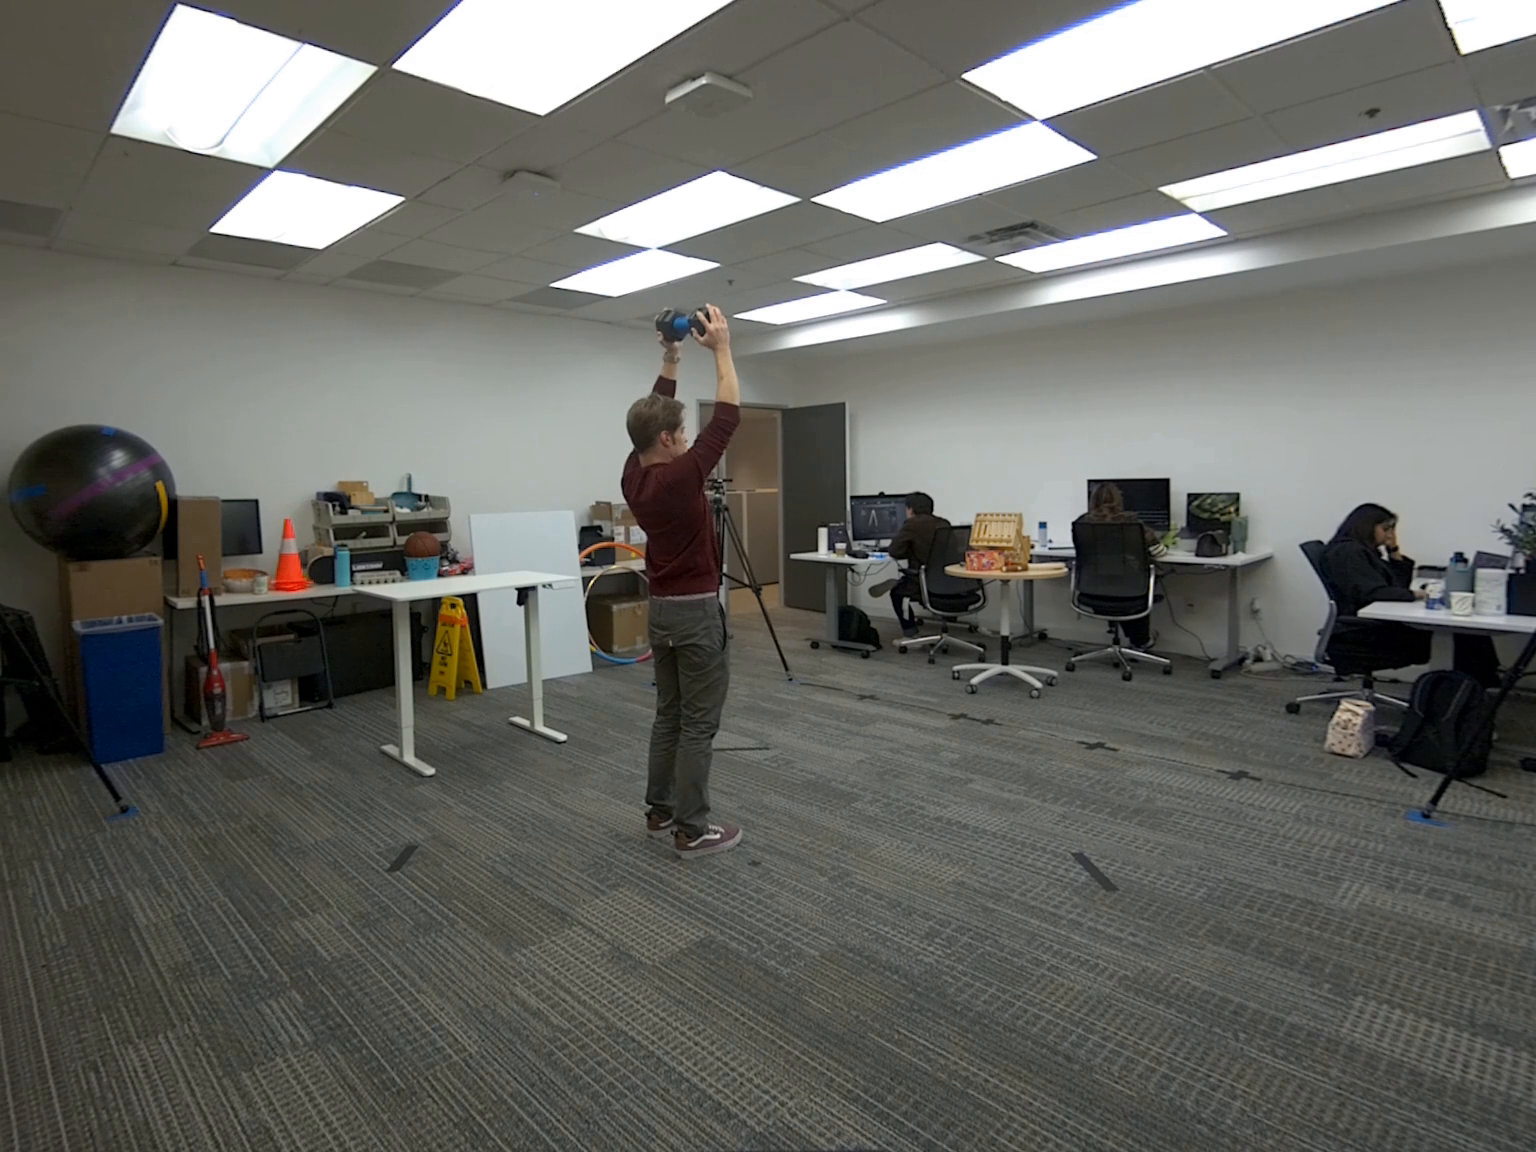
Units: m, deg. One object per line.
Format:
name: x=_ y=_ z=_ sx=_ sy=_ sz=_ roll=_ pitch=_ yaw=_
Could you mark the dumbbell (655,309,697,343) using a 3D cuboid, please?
dumbbell: x=-0.289 y=-0.930 z=3.179 sx=0.107 sy=0.120 sz=0.304 roll=-27 pitch=29 yaw=-30
